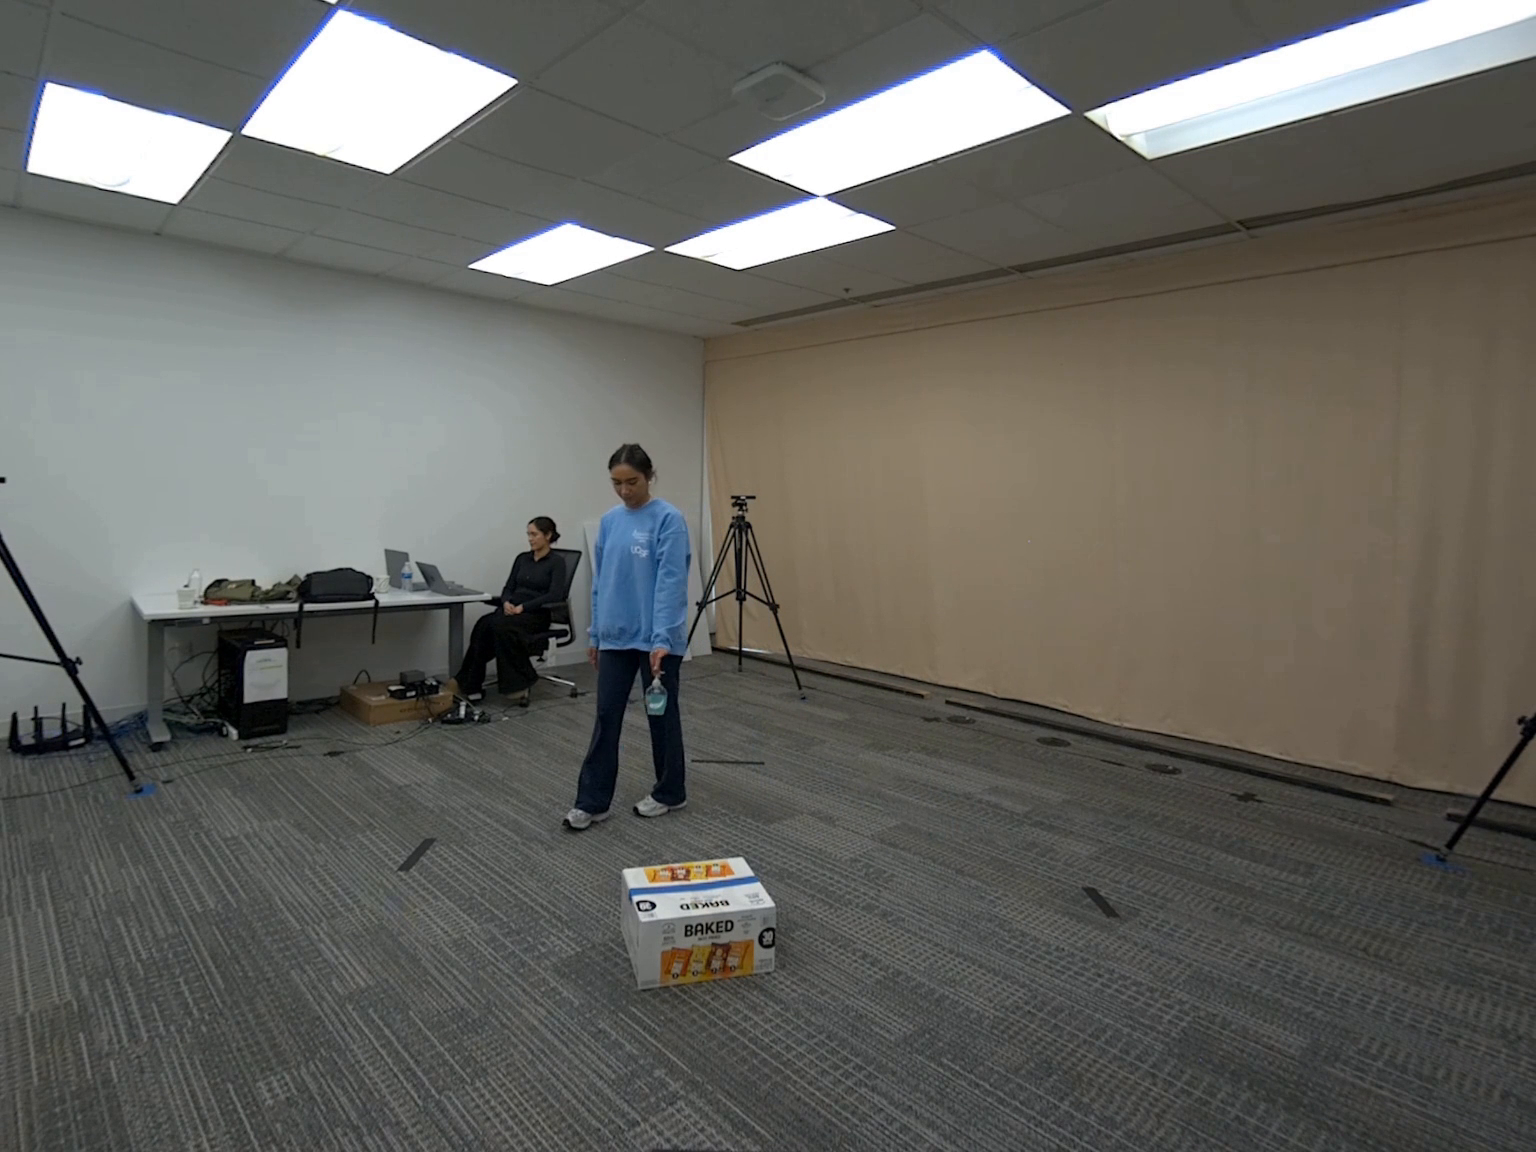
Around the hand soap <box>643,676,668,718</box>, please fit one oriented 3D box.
[{"bbox_3d":[-0.443,0.454,3.320,0.084,0.168,0.043,1,-1,-5],"label":"hand soap"}]
